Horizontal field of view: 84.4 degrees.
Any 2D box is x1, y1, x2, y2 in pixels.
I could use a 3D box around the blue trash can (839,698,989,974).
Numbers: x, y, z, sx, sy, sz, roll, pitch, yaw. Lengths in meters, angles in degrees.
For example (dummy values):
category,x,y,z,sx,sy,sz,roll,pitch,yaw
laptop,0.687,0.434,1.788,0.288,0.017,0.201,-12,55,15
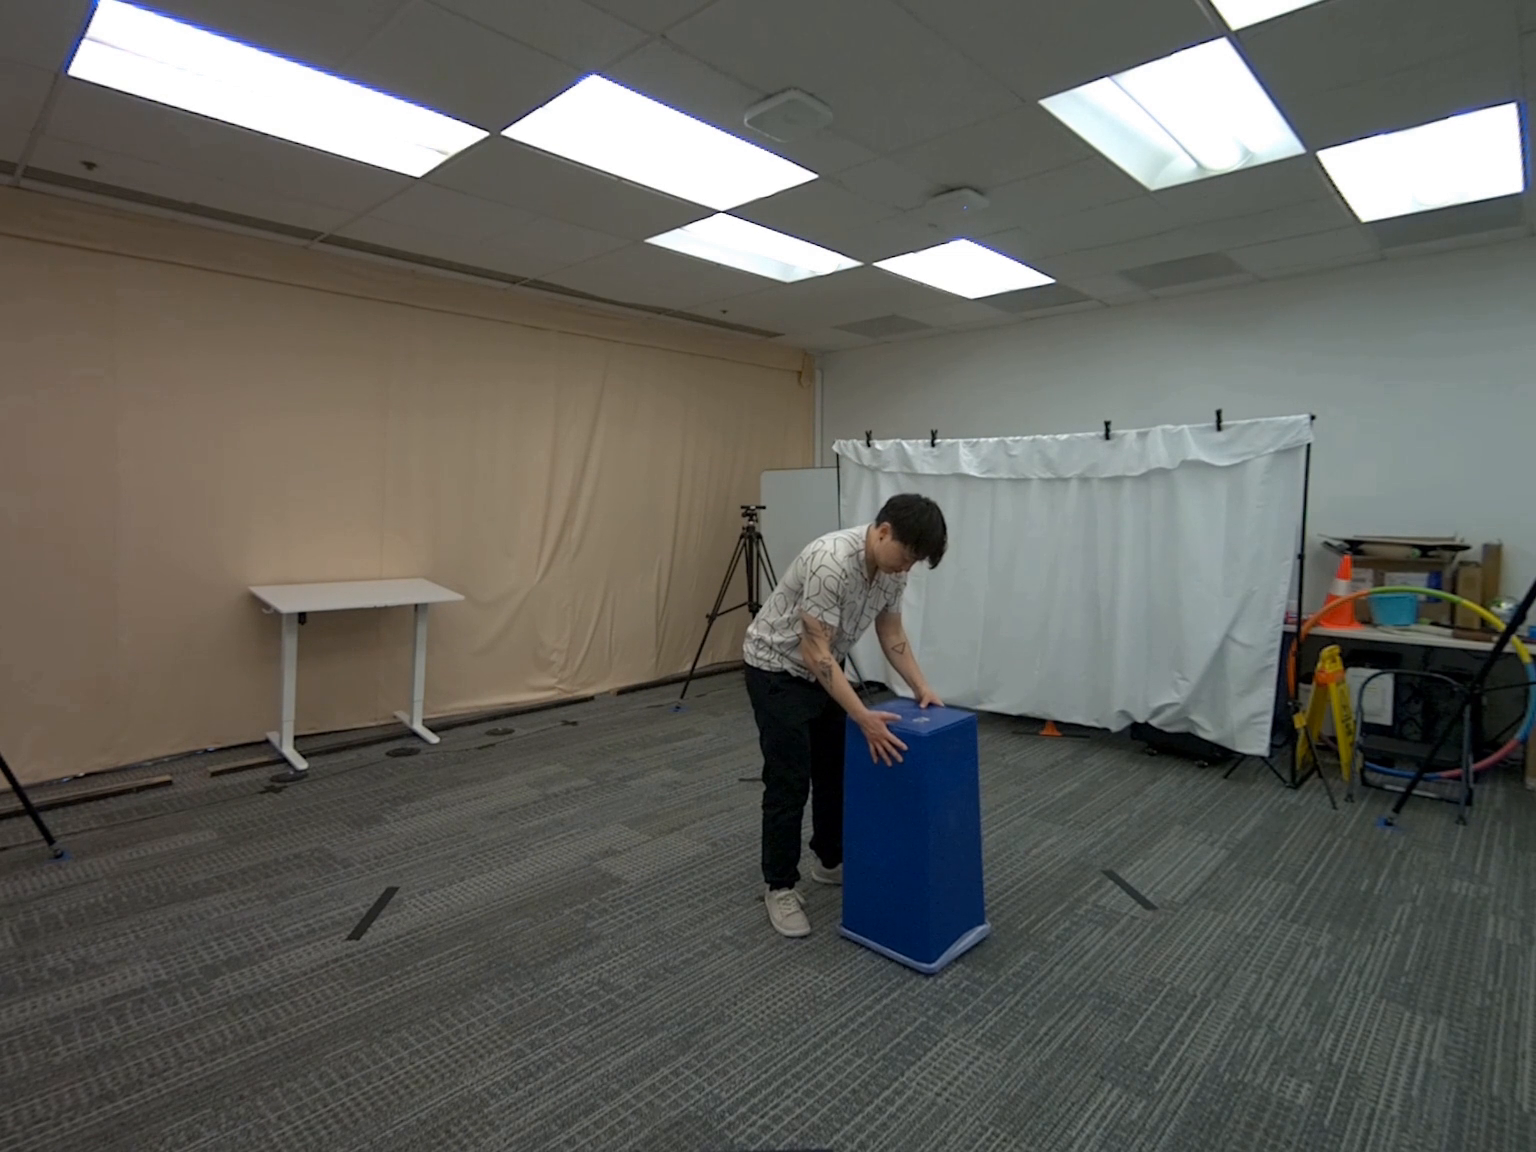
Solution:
category,x,y,z,sx,sy,sz,roll,pitch,yaw
blue trash can,0.478,0.793,2.694,0.391,0.711,0.363,4,6,45
